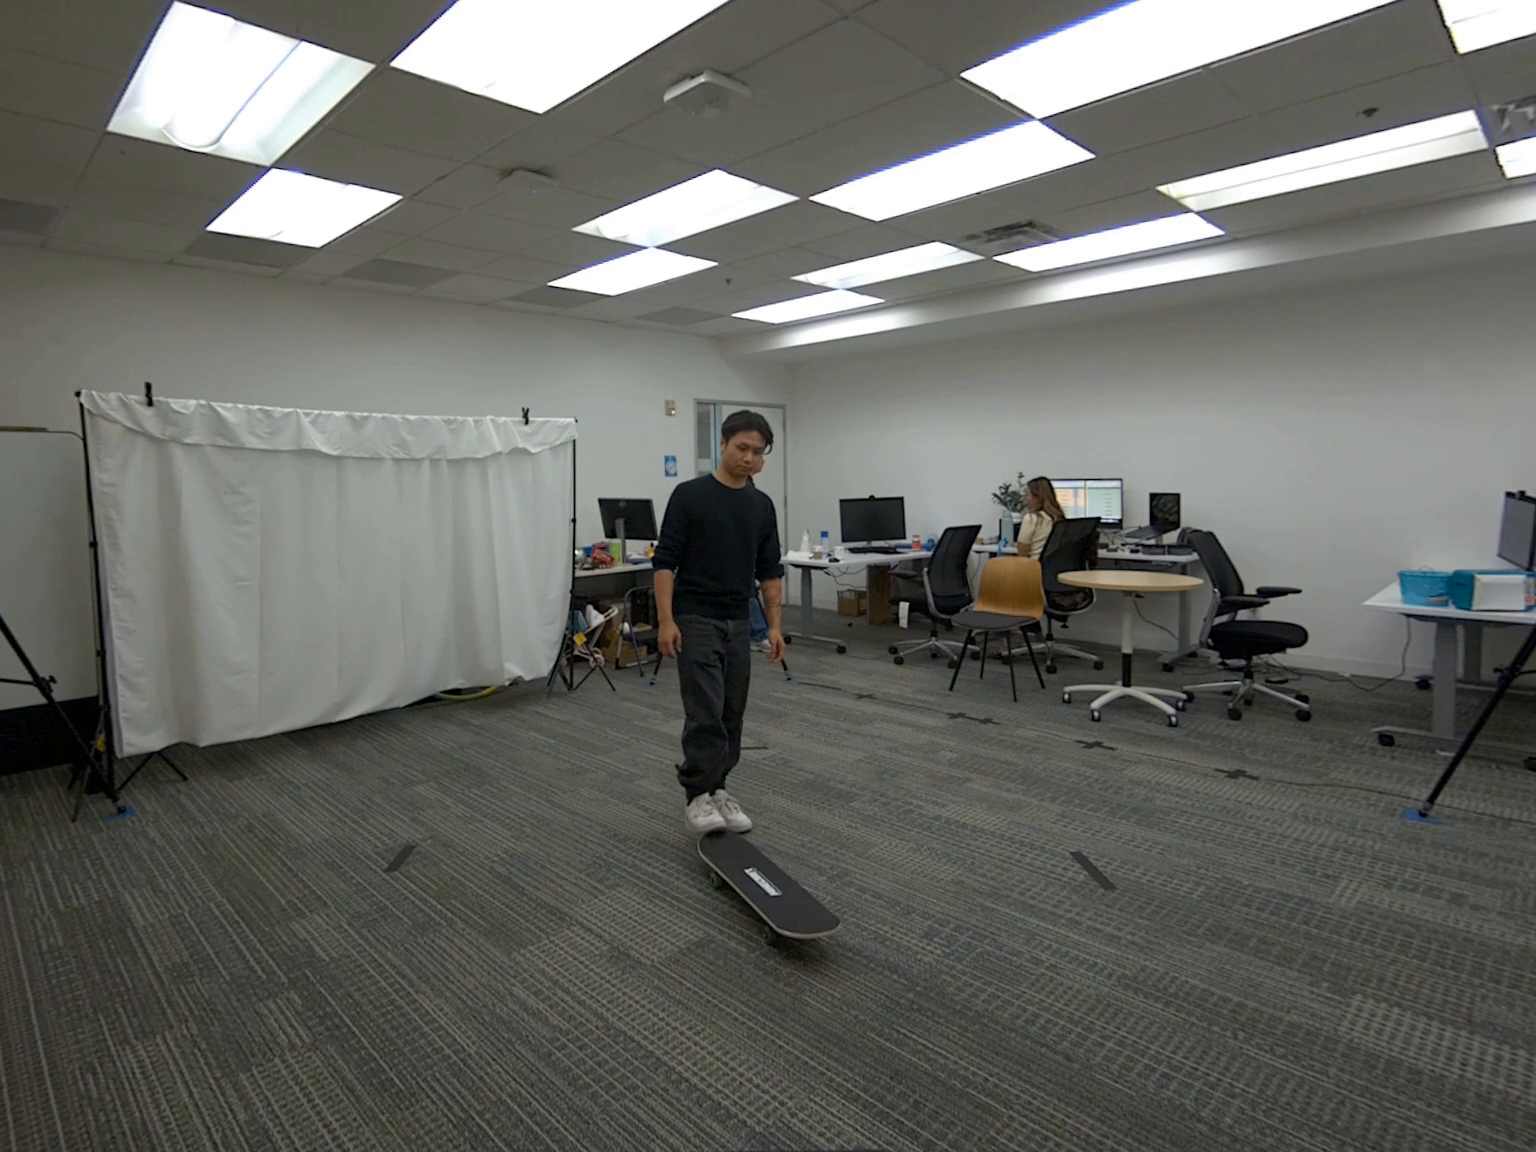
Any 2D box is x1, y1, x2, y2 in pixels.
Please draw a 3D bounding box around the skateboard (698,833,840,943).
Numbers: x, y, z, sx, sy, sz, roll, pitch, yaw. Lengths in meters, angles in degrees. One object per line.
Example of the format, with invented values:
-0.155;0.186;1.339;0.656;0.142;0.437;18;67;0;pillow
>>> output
-0.010;1.025;2.776;0.189;0.110;0.805;-4;6;-26;skateboard
